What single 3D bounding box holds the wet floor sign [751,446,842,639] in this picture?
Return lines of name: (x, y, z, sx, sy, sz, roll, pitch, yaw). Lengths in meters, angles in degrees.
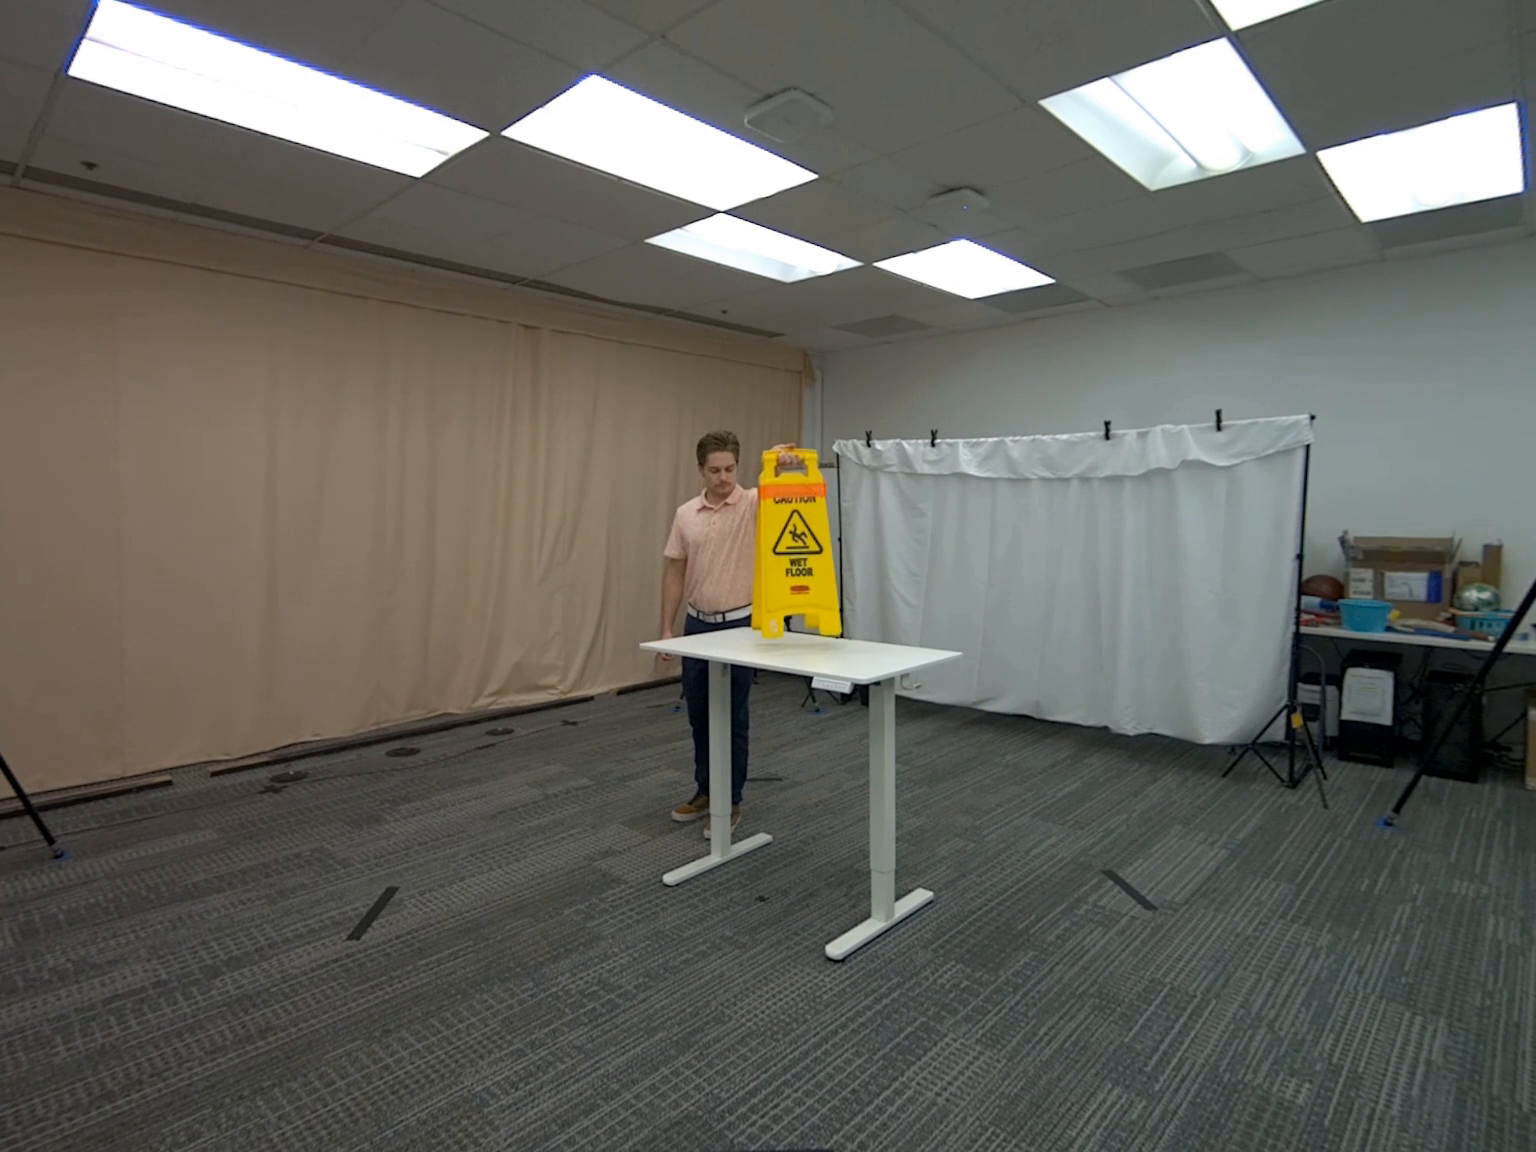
wet floor sign: (0.092, -0.117, 3.001, 0.281, 0.645, 0.292, -4, 2, -6)
